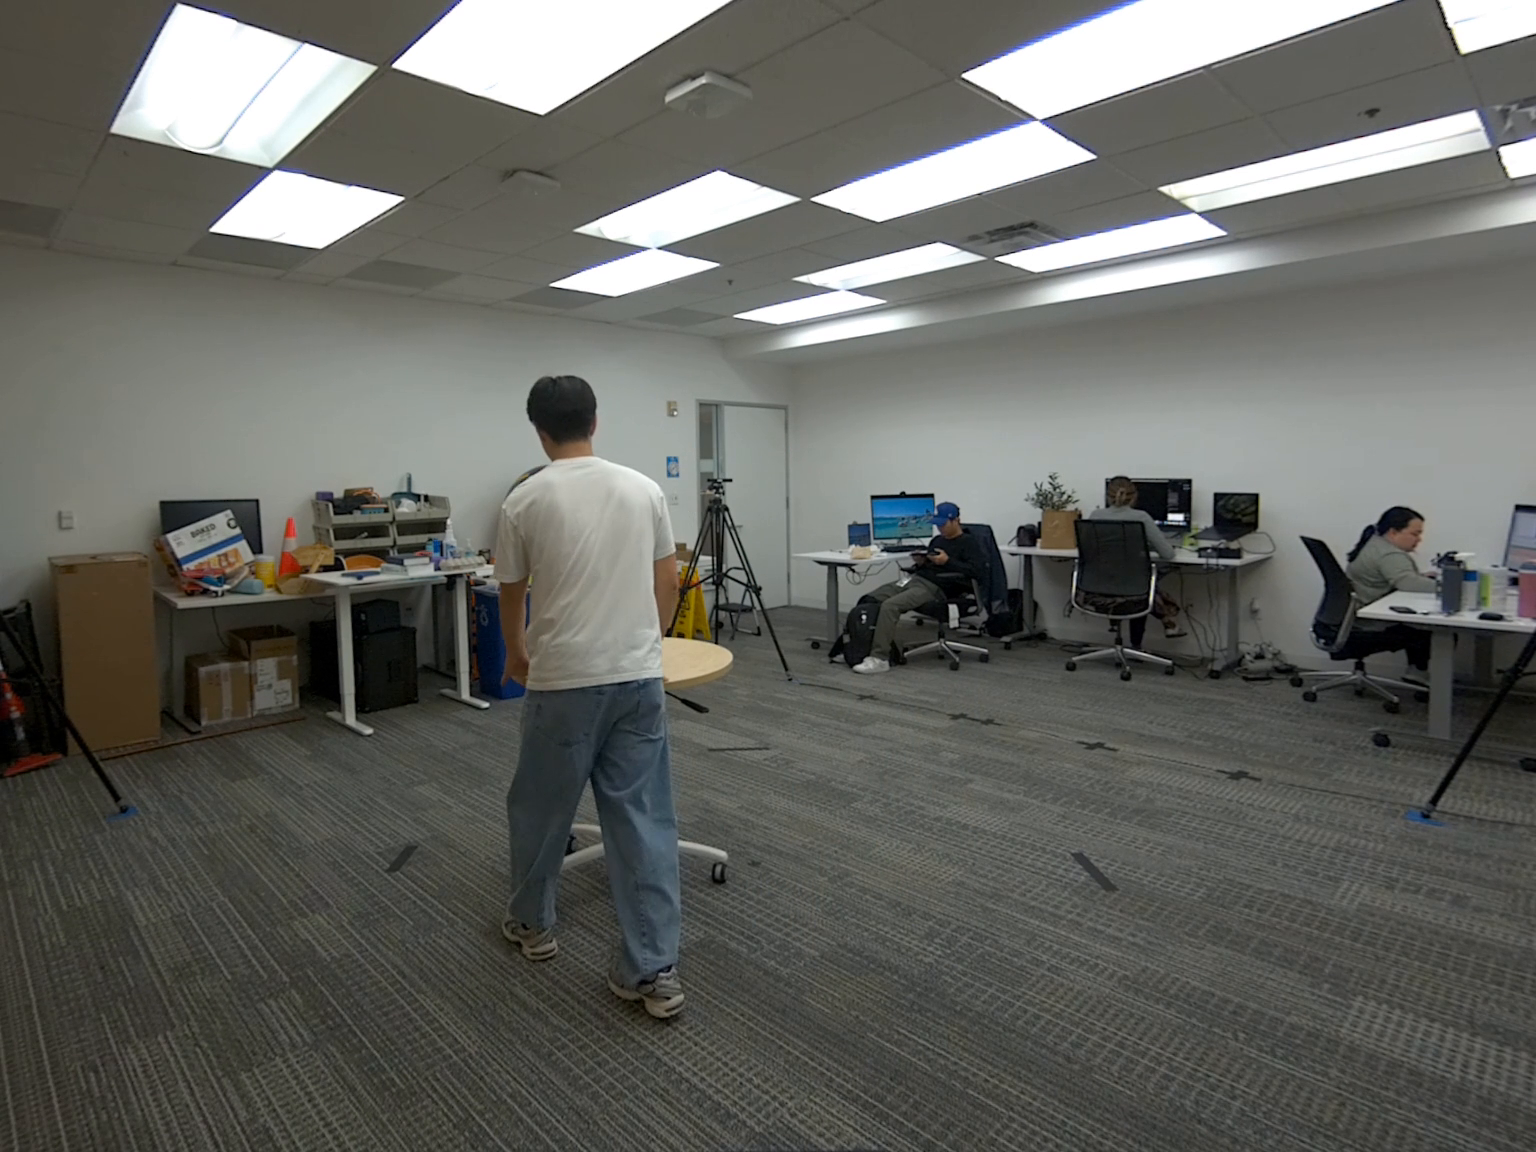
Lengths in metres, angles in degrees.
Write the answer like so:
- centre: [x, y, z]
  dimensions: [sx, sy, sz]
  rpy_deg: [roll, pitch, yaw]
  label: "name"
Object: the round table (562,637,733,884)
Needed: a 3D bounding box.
- centre: [-0.487, 0.679, 3.002]
  dimensions: [0.763, 0.790, 0.768]
  rpy_deg: [-1, 5, -2]
  label: "round table"
